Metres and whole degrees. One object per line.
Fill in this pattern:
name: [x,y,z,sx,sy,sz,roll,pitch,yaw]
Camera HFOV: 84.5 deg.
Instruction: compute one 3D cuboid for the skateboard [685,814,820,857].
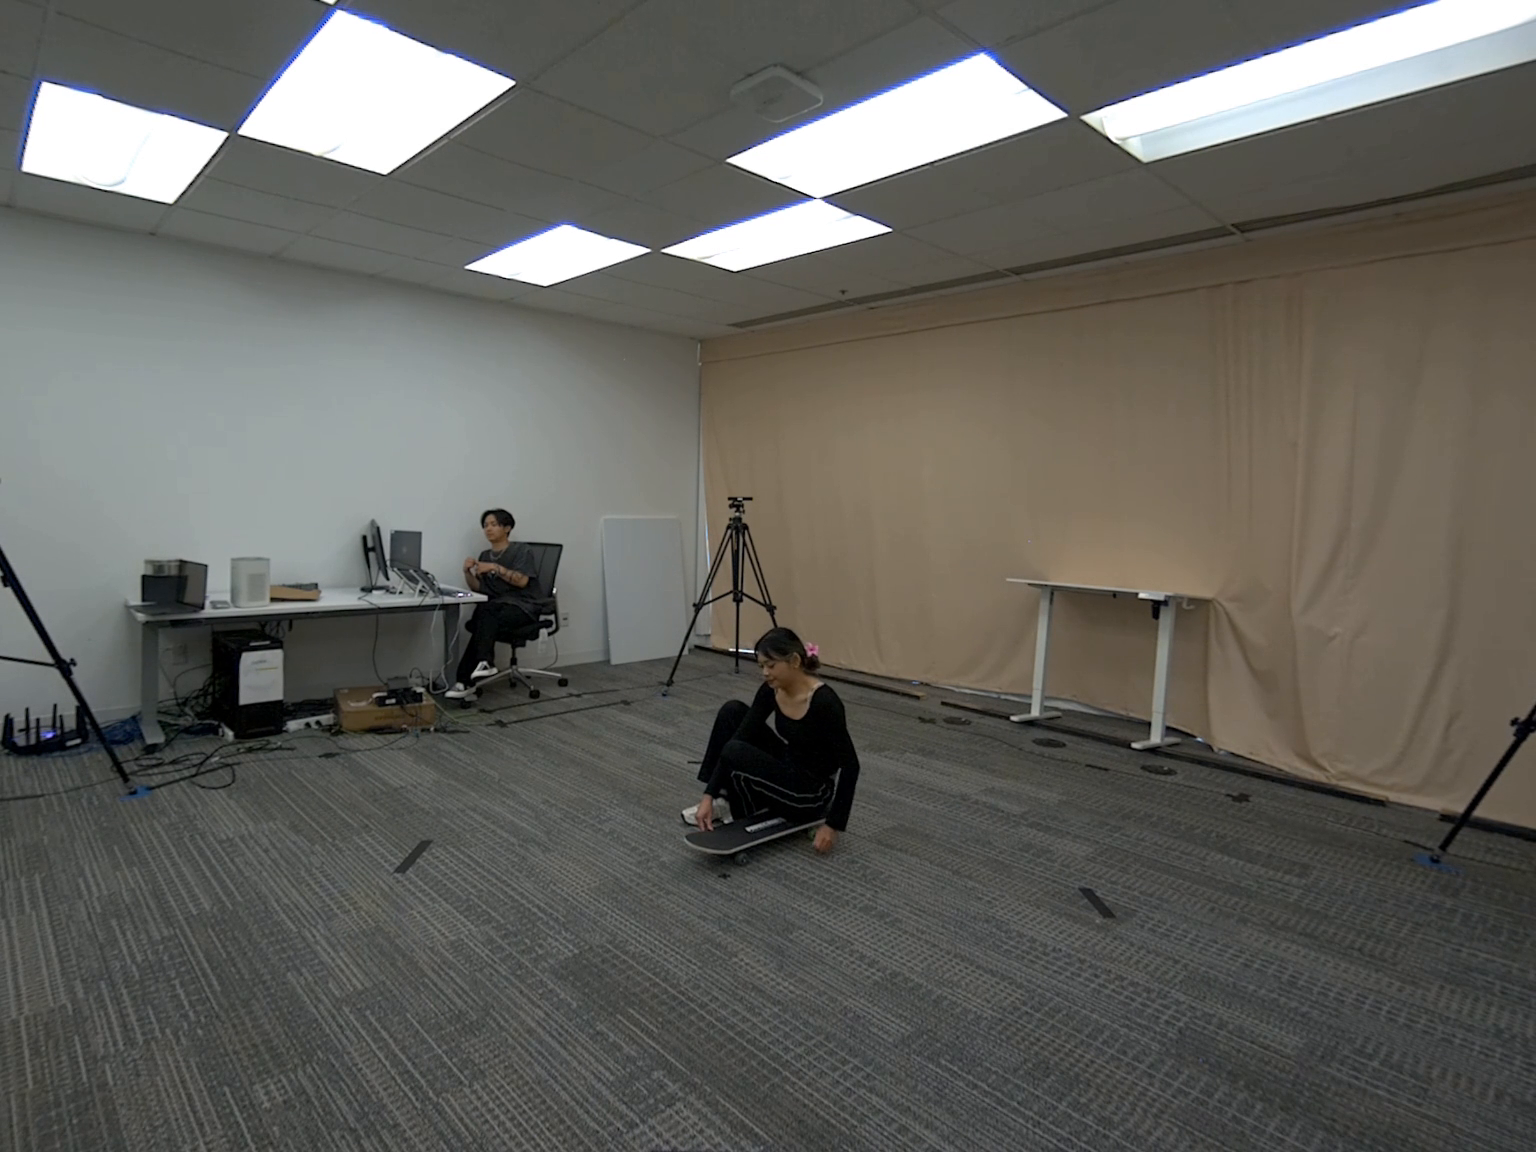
skateboard: [-0.020,1.029,3.382,0.767,0.110,0.199,-2,9,-43]
